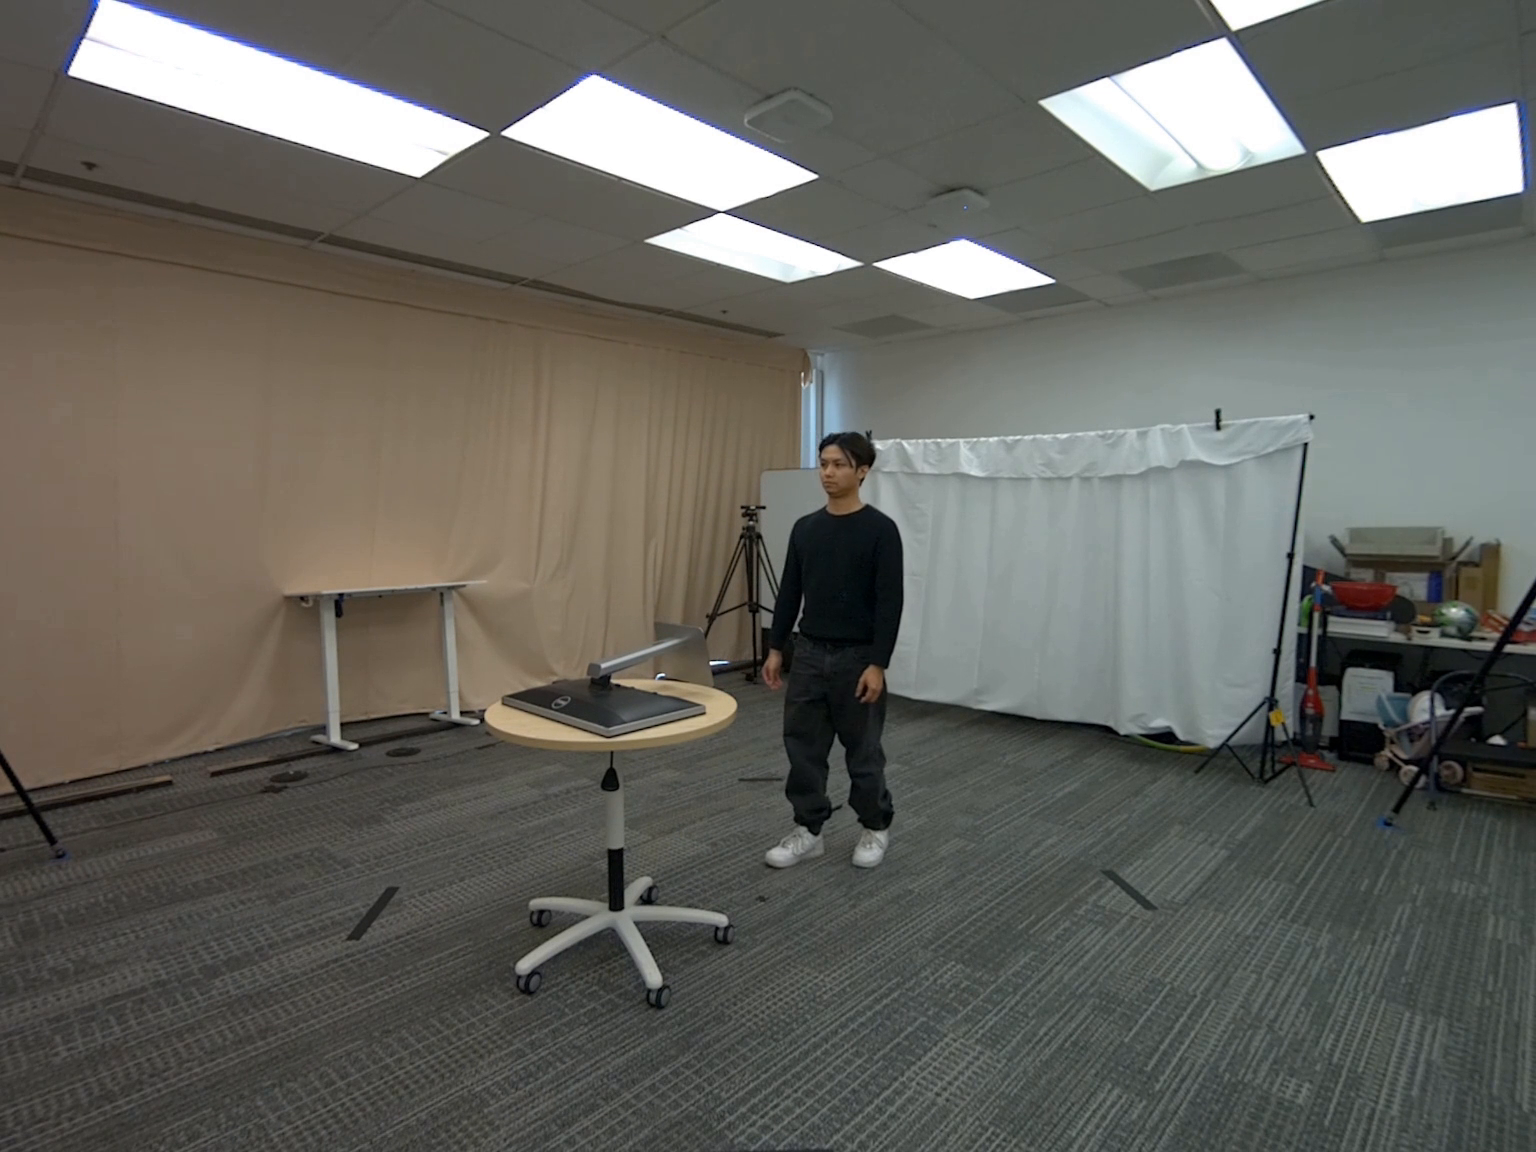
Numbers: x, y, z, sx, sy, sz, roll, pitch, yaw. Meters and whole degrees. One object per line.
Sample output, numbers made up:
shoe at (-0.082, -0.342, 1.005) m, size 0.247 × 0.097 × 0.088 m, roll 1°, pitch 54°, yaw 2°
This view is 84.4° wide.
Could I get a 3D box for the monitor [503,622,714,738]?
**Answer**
monitor at (-0.464, 0.331, 2.592) m, size 0.557 × 0.185 × 0.511 m, roll 1°, pitch 19°, yaw 45°
